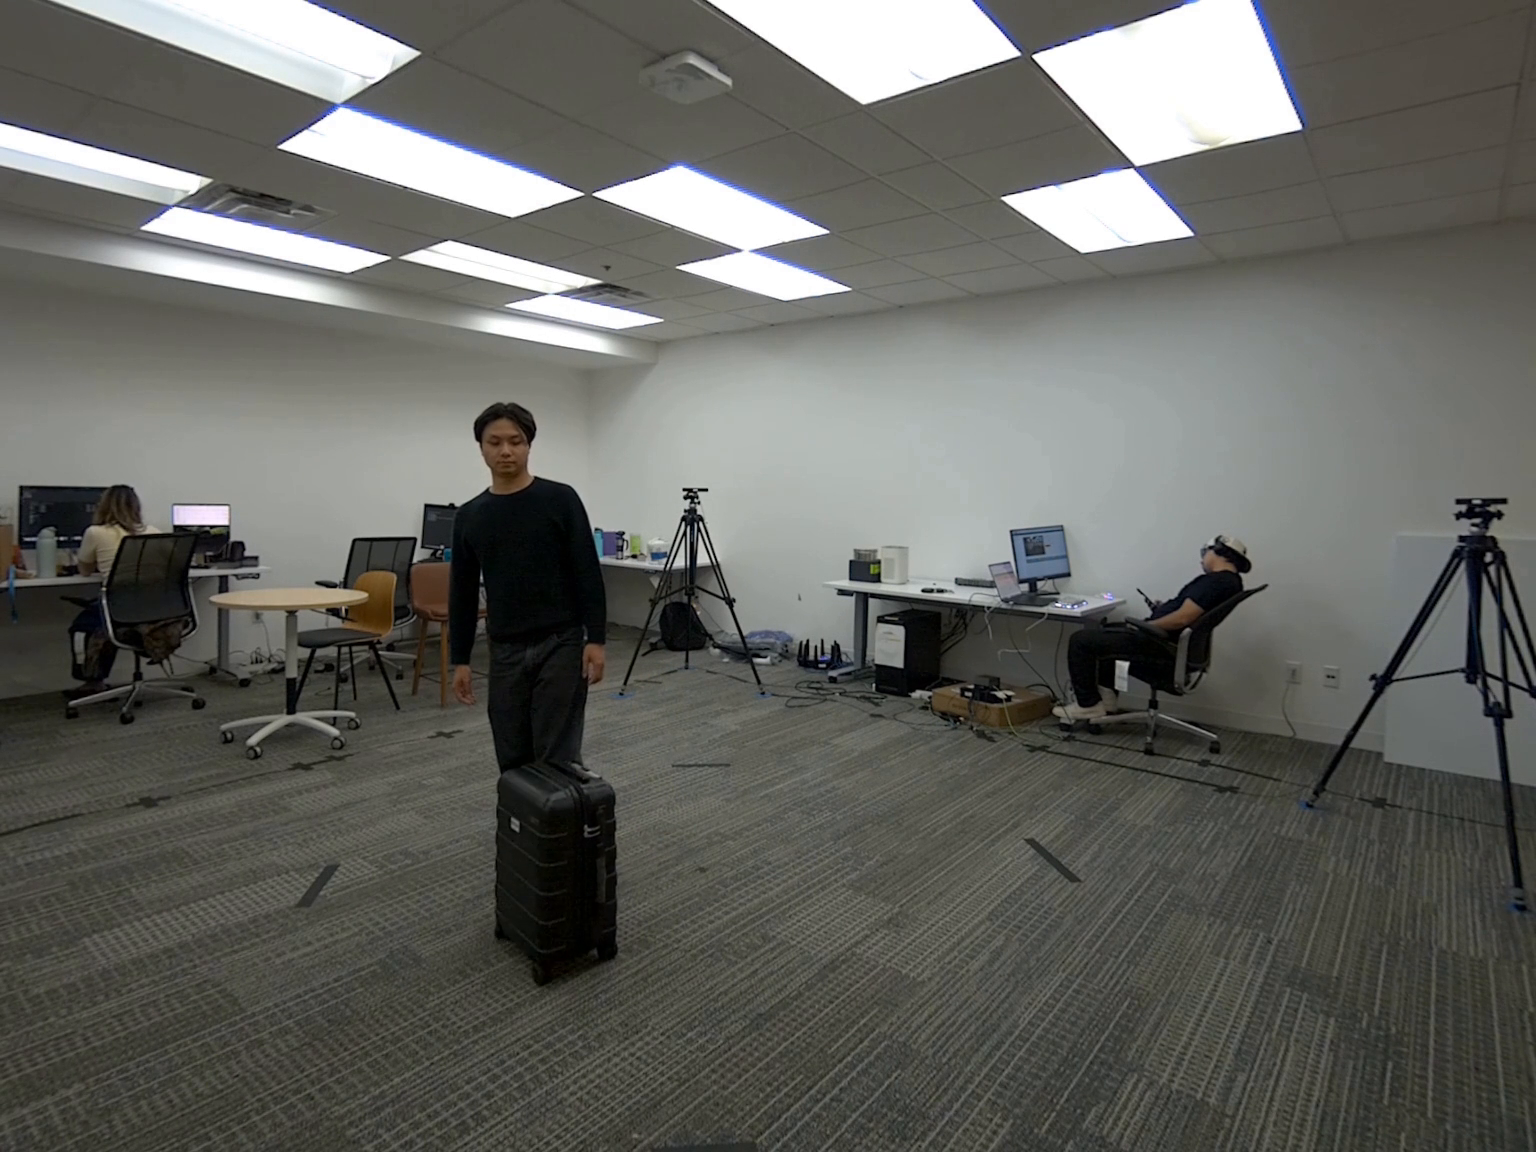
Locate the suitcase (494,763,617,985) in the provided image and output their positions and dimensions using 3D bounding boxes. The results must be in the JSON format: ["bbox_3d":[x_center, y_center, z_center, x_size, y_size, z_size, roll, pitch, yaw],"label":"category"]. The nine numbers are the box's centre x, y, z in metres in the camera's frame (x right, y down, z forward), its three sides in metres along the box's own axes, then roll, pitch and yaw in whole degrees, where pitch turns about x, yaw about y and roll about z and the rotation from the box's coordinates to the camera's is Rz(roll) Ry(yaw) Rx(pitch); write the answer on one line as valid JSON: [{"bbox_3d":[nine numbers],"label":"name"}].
[{"bbox_3d":[-0.639,0.846,2.523,0.241,0.547,0.388,-2,5,-41],"label":"suitcase"}]
